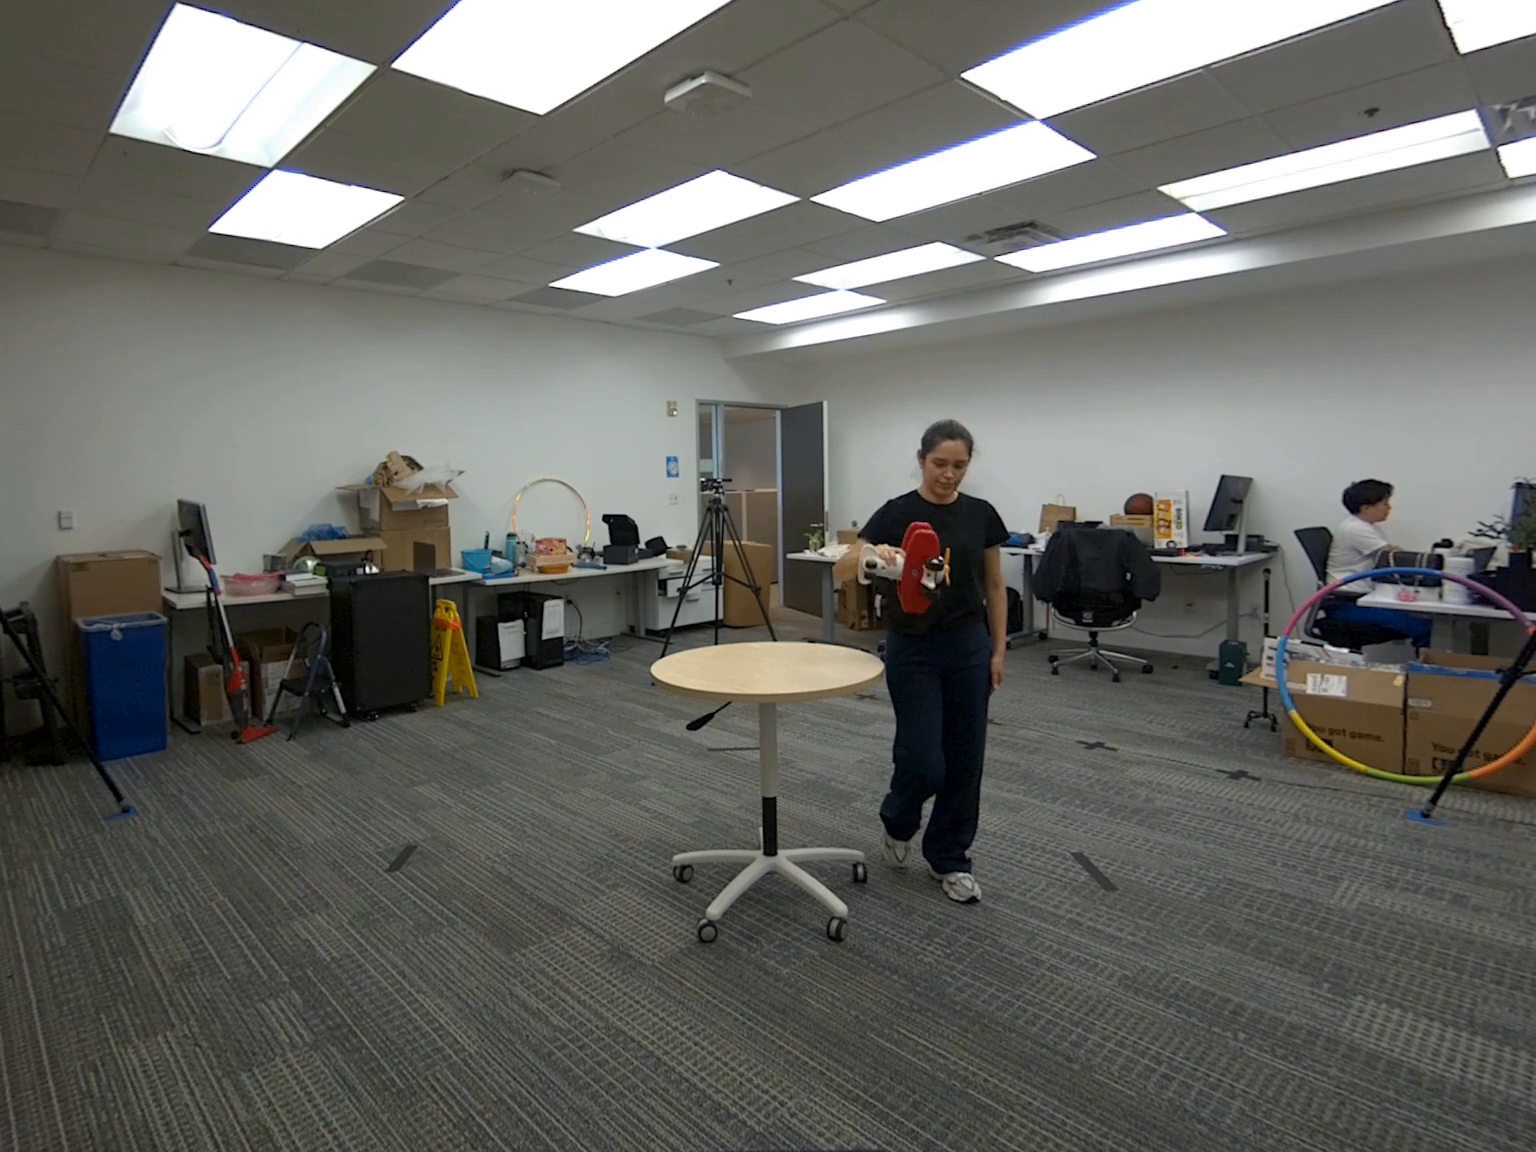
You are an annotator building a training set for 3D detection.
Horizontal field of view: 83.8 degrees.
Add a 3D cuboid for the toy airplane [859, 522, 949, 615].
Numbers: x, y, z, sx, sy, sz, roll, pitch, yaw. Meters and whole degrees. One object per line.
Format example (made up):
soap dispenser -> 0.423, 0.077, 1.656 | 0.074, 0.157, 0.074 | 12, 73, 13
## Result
toy airplane -> 0.395, -0.050, 2.525 | 0.260, 0.250, 0.156 | 35, 22, 2
